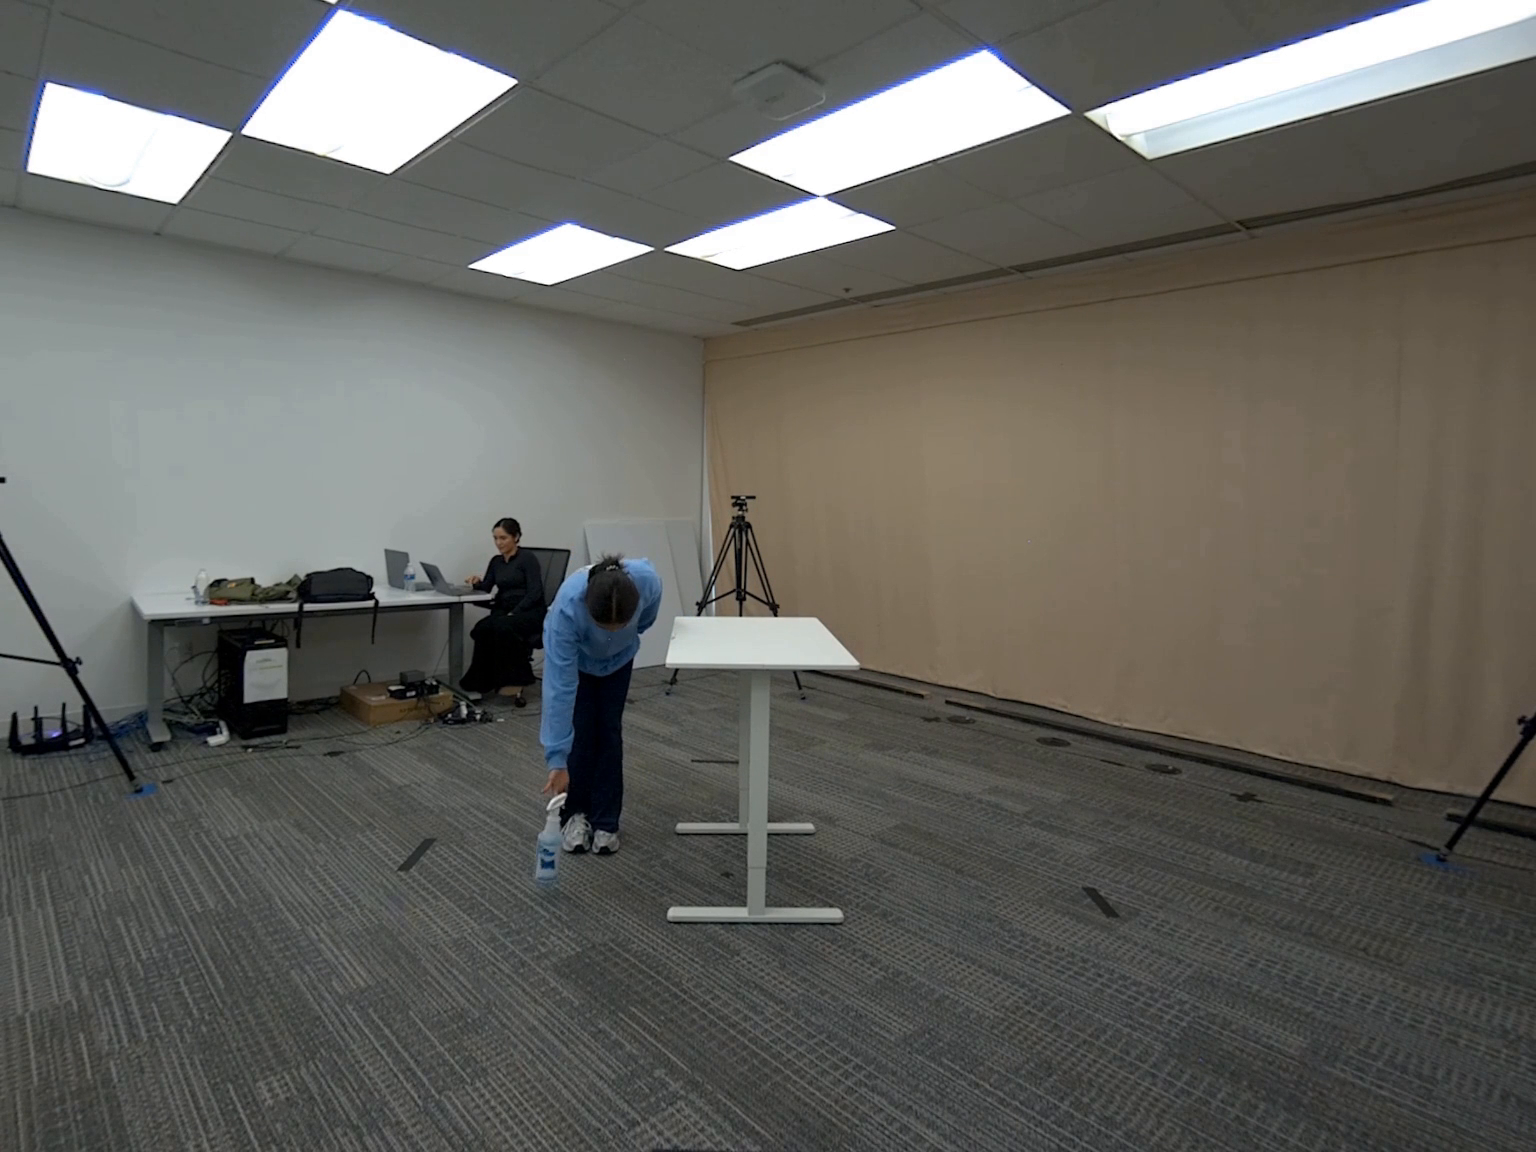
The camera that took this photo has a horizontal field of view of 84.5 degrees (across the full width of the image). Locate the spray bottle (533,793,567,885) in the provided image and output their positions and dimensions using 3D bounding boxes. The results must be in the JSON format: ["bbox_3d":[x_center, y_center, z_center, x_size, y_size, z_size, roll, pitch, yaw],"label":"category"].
[{"bbox_3d":[-0.755,0.905,2.879,0.088,0.296,0.089,2,7,-43],"label":"spray bottle"}]
